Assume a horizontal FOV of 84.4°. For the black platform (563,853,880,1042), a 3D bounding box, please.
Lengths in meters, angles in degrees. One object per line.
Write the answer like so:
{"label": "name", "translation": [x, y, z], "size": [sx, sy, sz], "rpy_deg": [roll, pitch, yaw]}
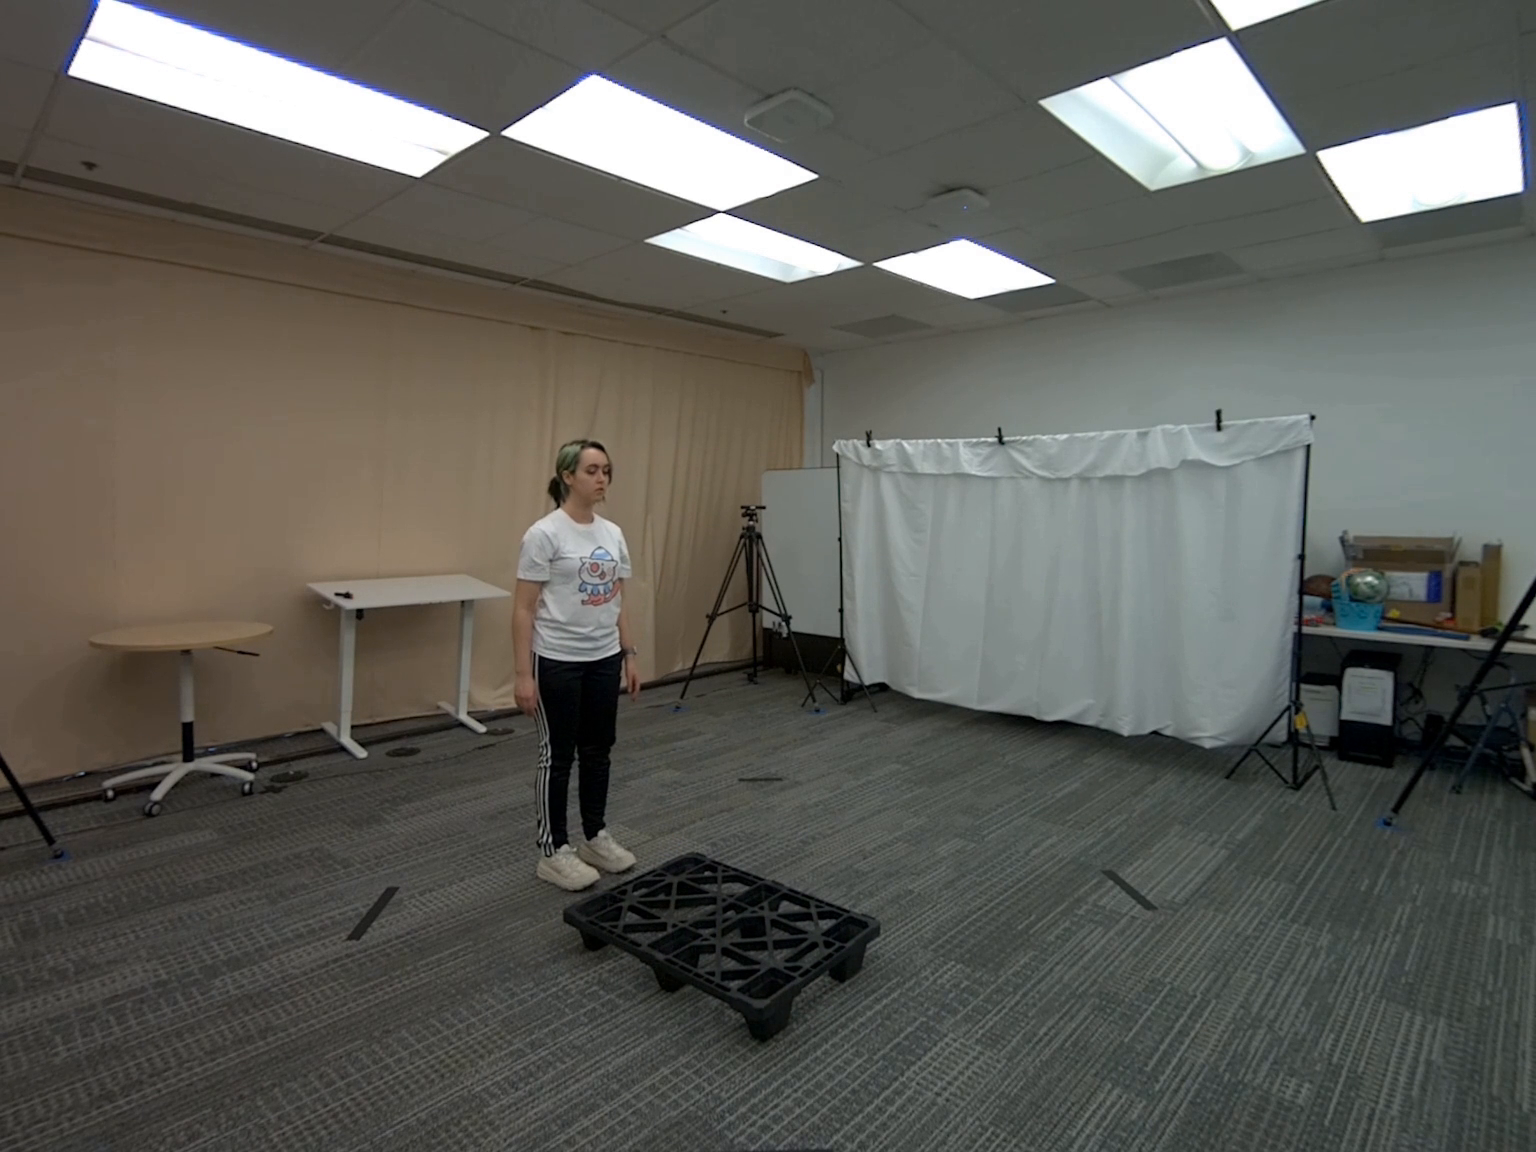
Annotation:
{"label": "black platform", "translation": [-0.150, 1.111, 2.596], "size": [0.832, 0.143, 0.587], "rpy_deg": [4, 6, 40]}
